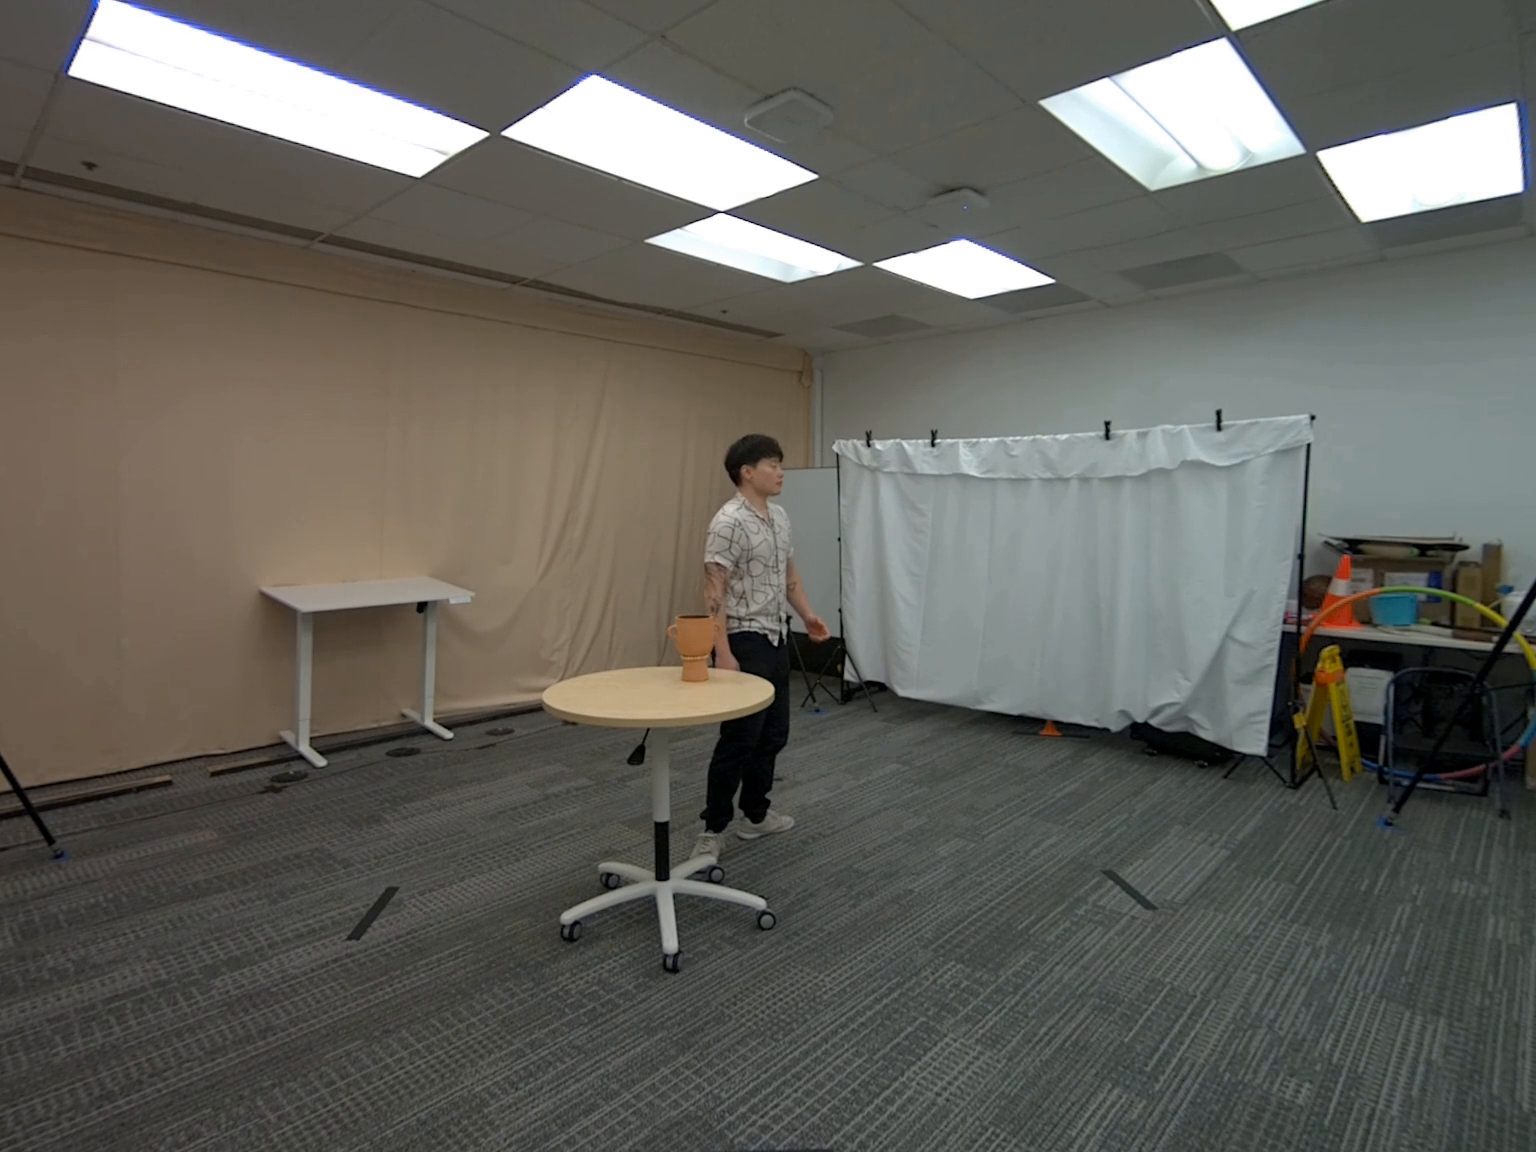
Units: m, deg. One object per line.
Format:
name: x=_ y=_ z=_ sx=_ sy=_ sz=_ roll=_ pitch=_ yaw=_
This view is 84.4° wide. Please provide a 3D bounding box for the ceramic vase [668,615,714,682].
ceramic vase: x=-0.259 y=0.252 z=2.947 sx=0.162 sy=0.219 sz=0.132 roll=0 pitch=3 yaw=17
